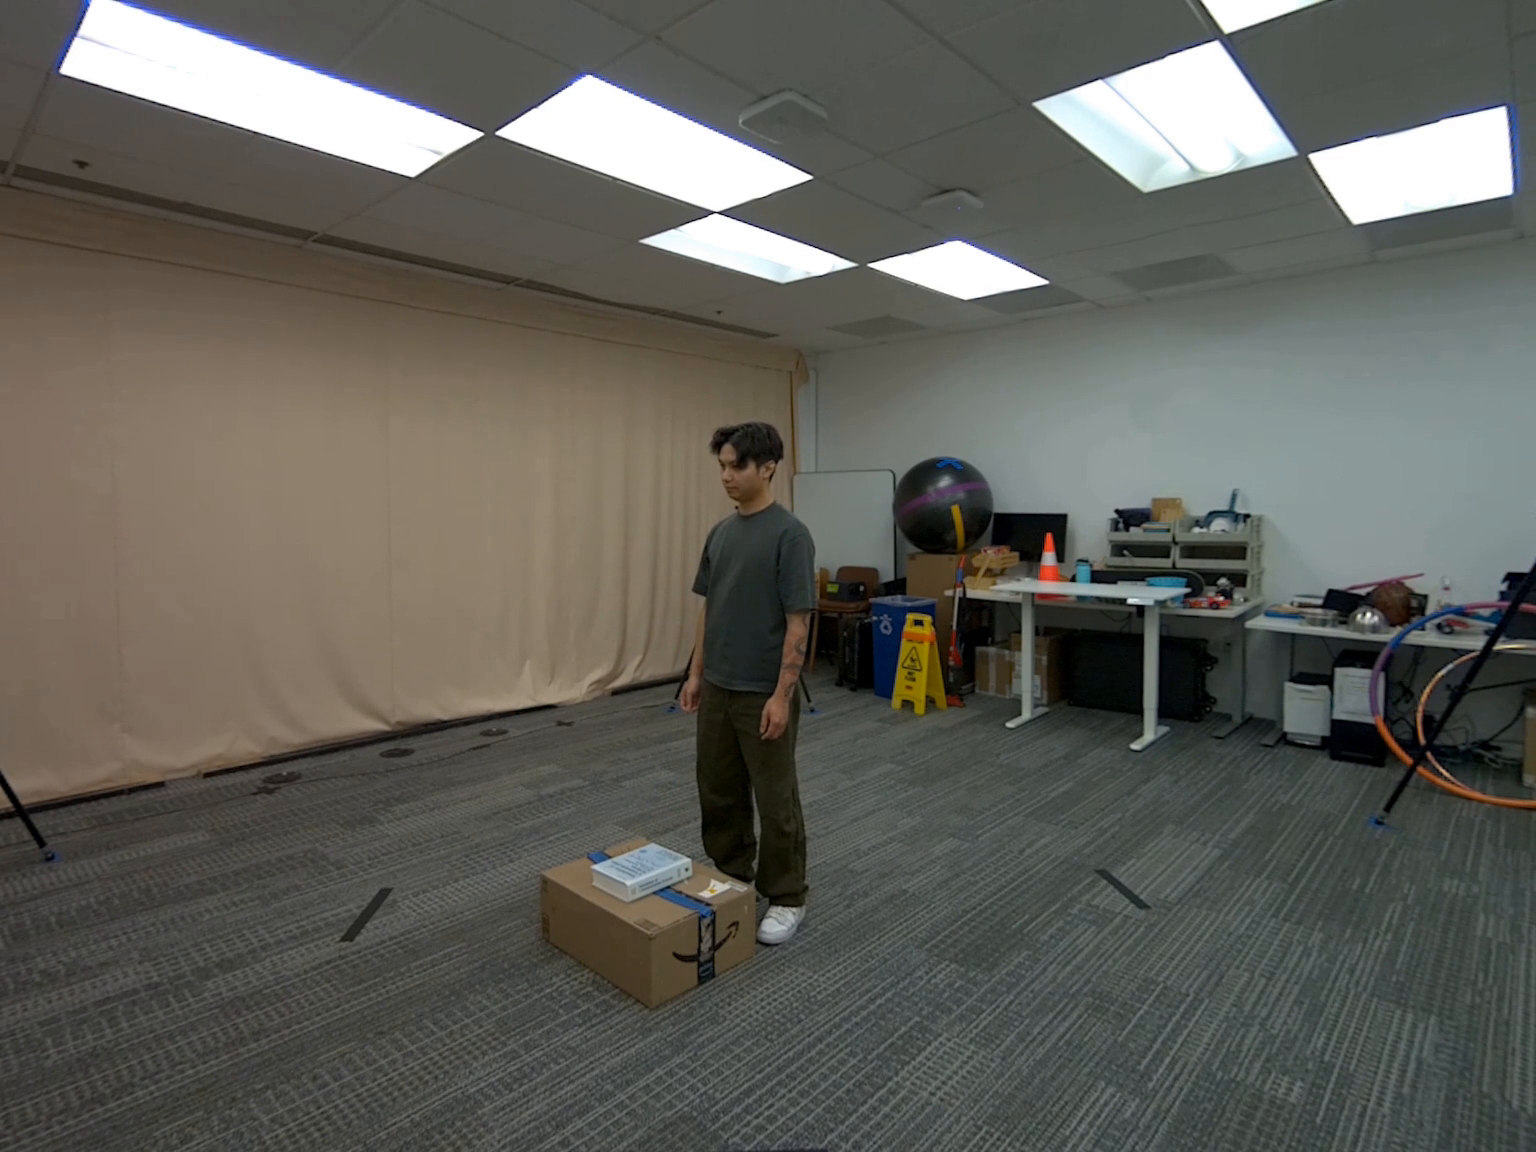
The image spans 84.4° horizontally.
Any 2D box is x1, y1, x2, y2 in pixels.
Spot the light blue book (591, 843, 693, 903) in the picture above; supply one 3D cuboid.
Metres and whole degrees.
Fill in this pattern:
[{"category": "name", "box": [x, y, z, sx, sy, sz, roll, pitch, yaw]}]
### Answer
[{"category": "light blue book", "box": [-0.397, 0.935, 2.666, 0.198, 0.059, 0.253, 3, 5, 43]}]
